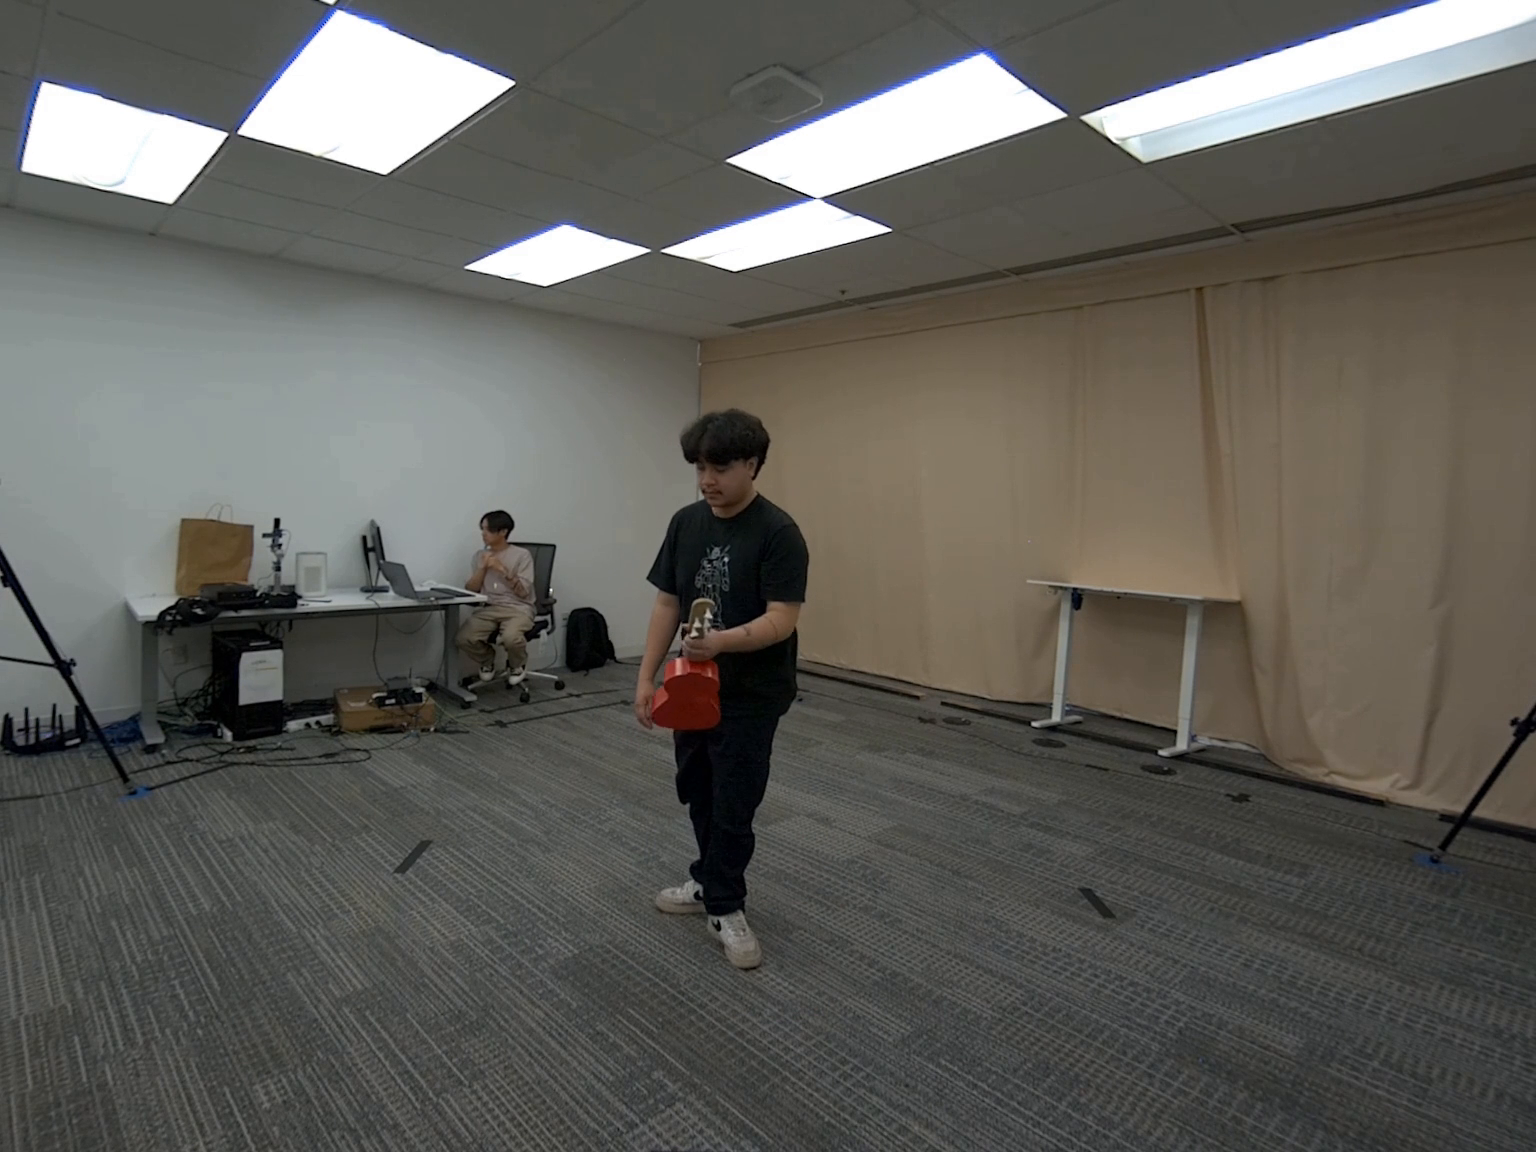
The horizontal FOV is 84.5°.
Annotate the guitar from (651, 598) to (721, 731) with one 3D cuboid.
[{"bbox_3d":[-0.233,0.249,2.230,0.193,0.487,0.072,-2,47,-3],"label":"guitar"}]
